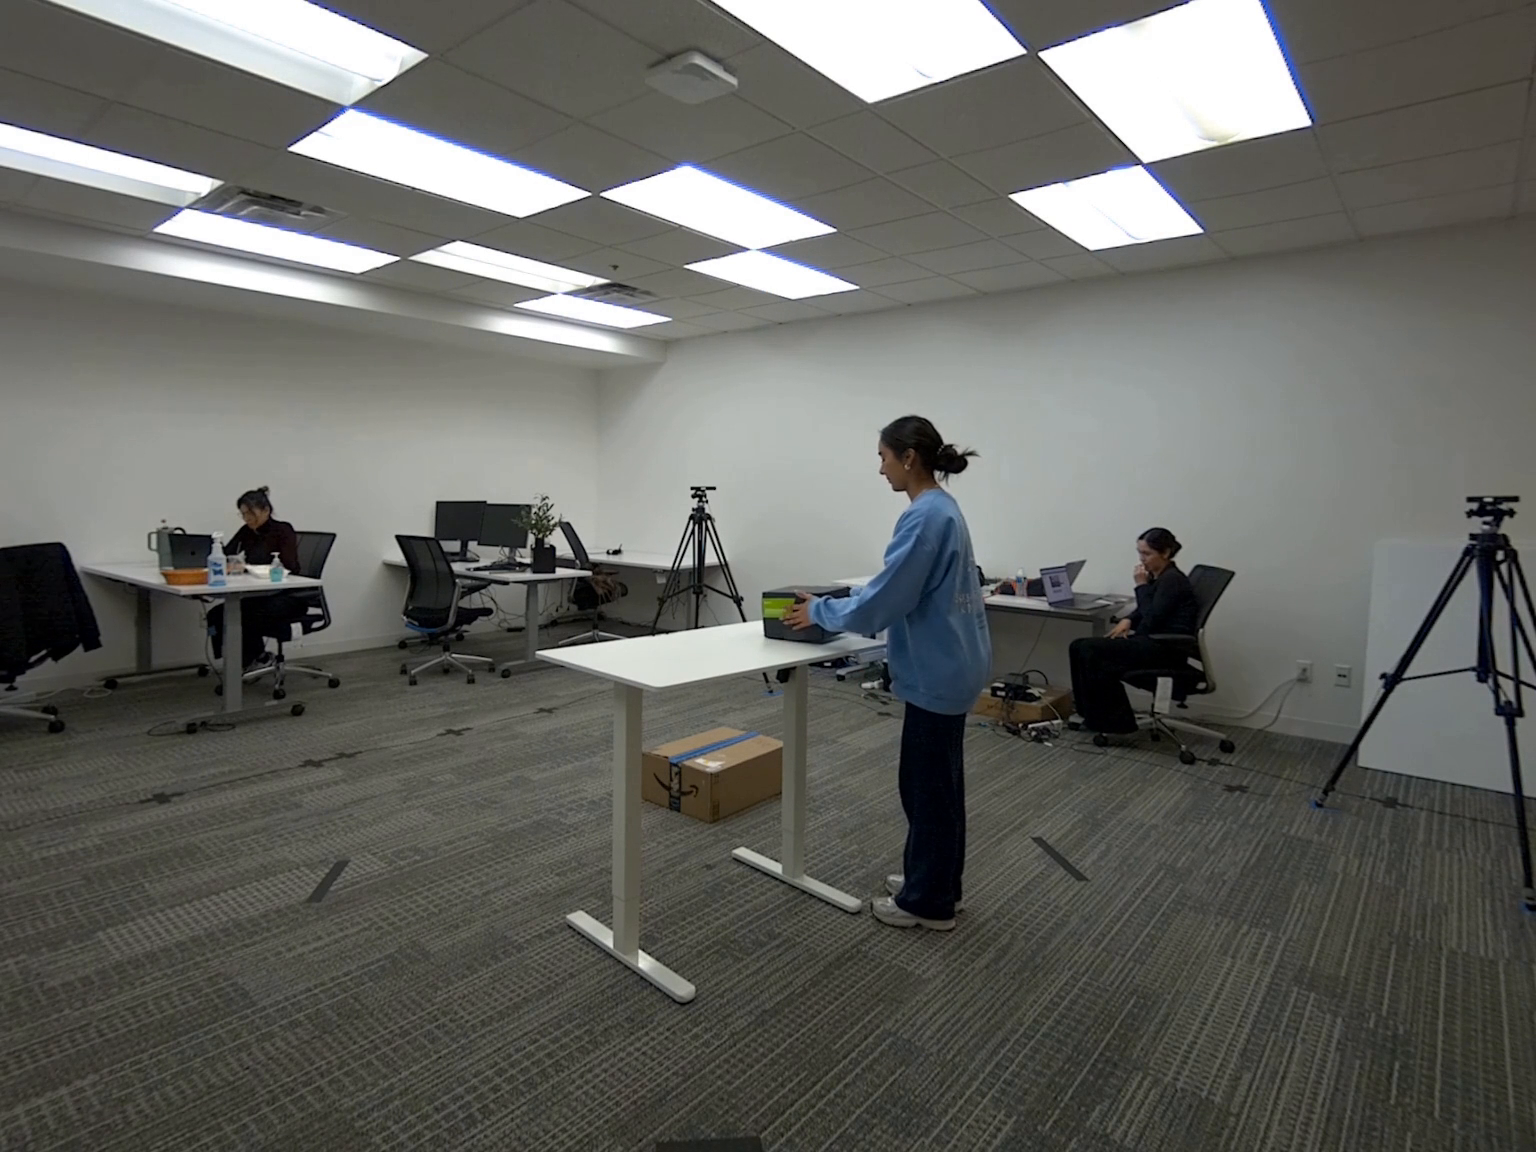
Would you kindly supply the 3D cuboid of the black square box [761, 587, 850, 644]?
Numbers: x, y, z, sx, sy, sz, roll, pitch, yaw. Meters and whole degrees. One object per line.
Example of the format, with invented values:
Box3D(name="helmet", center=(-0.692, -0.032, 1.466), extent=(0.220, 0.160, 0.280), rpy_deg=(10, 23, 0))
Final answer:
Box3D(name="black square box", center=(0.121, 0.116, 2.903), extent=(0.234, 0.155, 0.212), rpy_deg=(2, 6, 31))
